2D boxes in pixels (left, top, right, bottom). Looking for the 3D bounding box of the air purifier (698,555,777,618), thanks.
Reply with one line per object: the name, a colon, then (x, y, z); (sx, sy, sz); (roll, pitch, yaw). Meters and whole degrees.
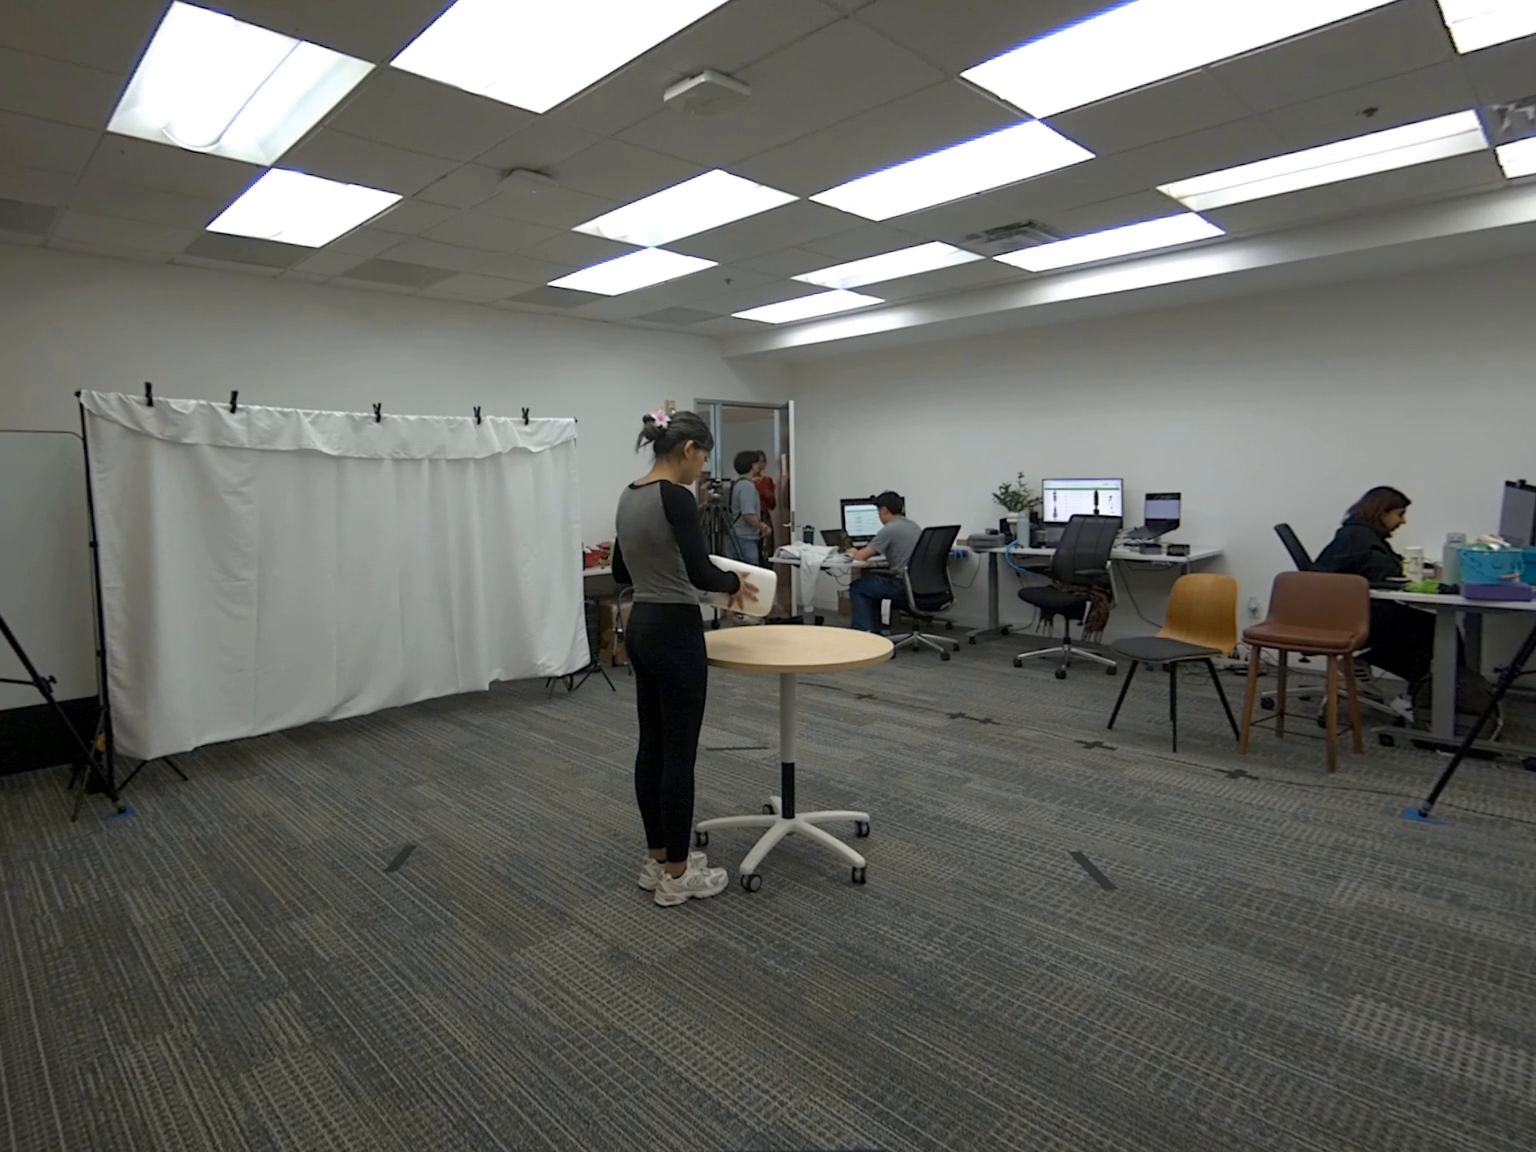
air purifier: (-0.119, 0.034, 3.027); (0.257, 0.172, 0.176); (15, -7, -31)
